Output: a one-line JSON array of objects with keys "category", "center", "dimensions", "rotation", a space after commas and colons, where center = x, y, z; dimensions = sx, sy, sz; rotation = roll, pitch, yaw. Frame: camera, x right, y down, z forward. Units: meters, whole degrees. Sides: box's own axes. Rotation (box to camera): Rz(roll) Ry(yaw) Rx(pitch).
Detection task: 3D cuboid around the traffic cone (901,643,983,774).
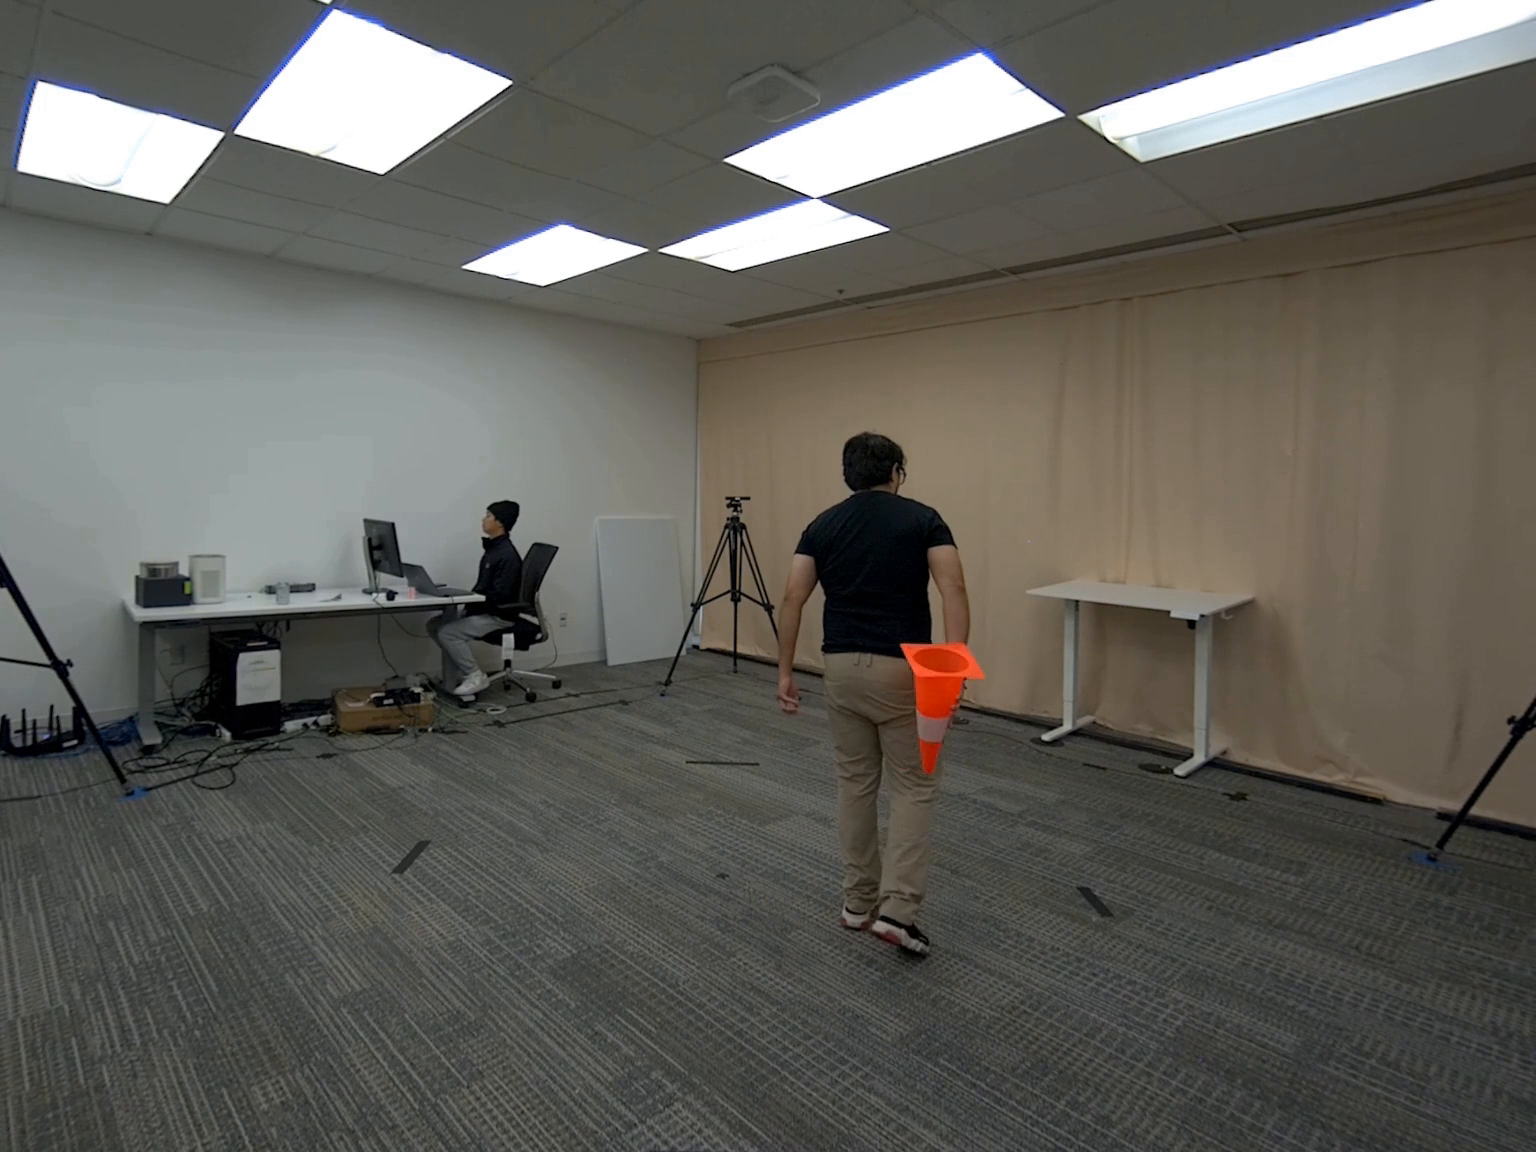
[{"category": "traffic cone", "center": [0.488, 0.431, 2.503], "dimensions": [0.203, 0.378, 0.208], "rotation": [1, 21, -3]}]
